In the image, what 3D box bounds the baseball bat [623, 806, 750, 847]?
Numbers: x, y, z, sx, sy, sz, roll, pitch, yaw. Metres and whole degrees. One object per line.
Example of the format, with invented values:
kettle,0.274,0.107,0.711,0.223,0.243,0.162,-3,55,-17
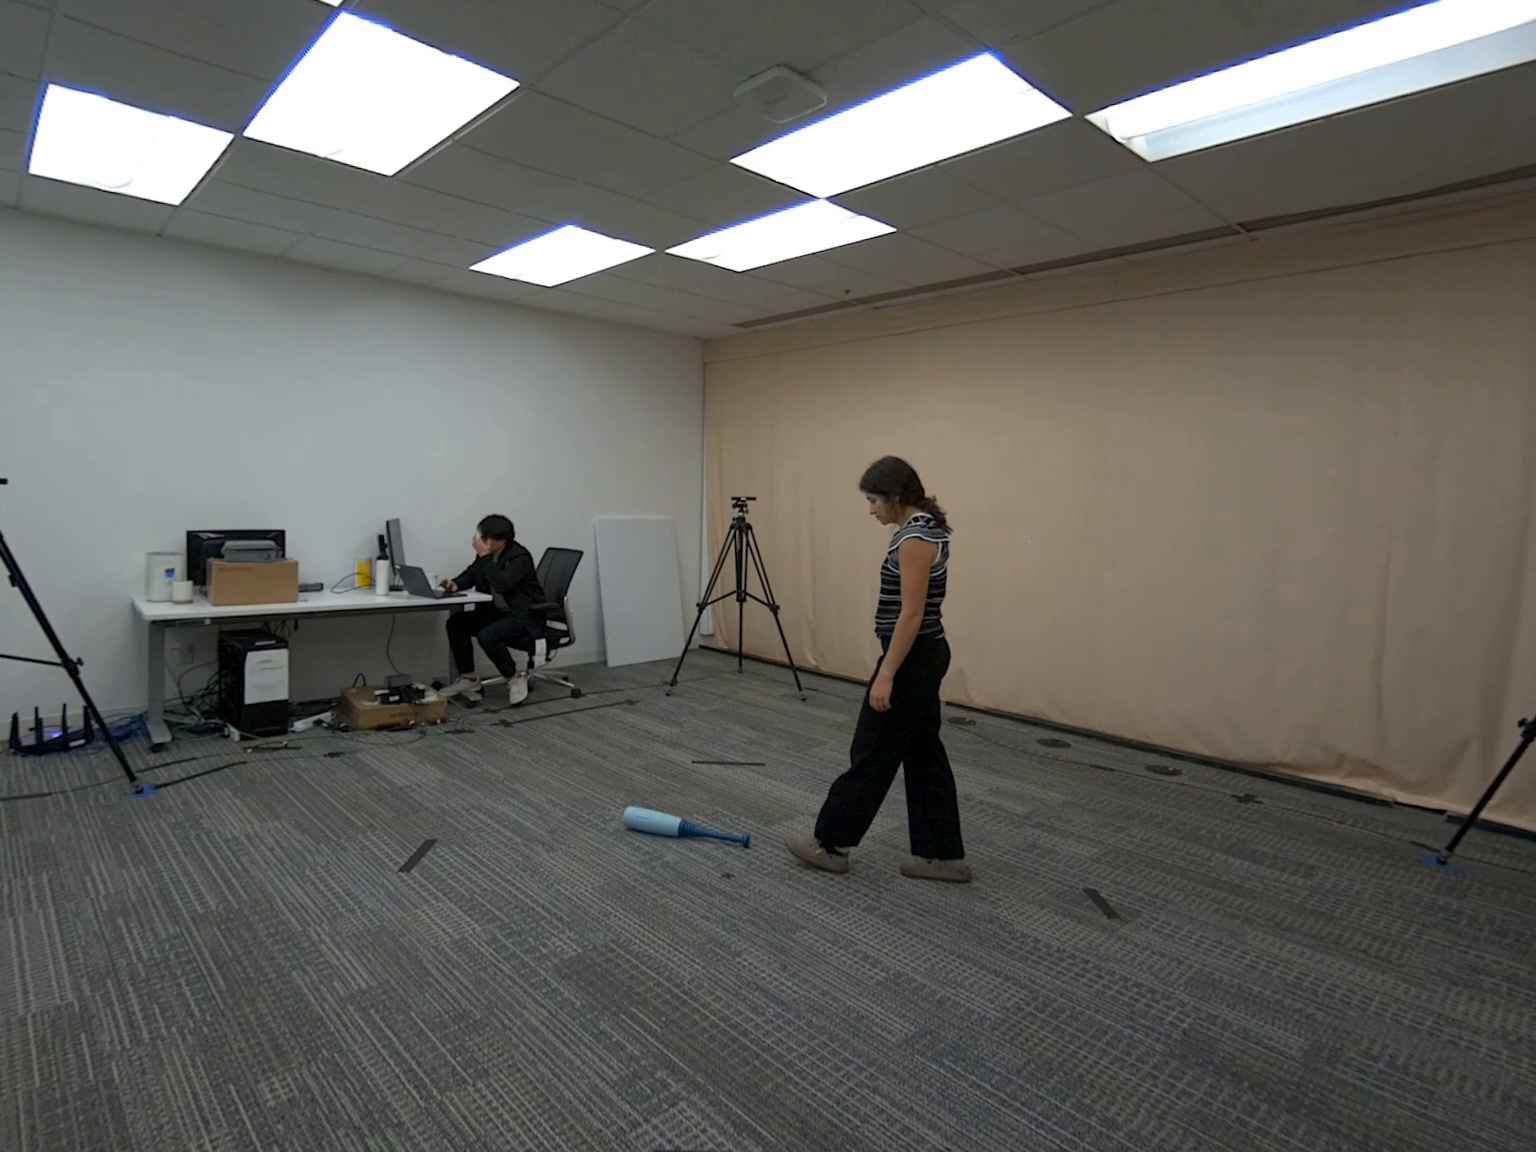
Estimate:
baseball bat,-0.342,1.033,3.444,0.551,0.089,0.088,6,5,17
